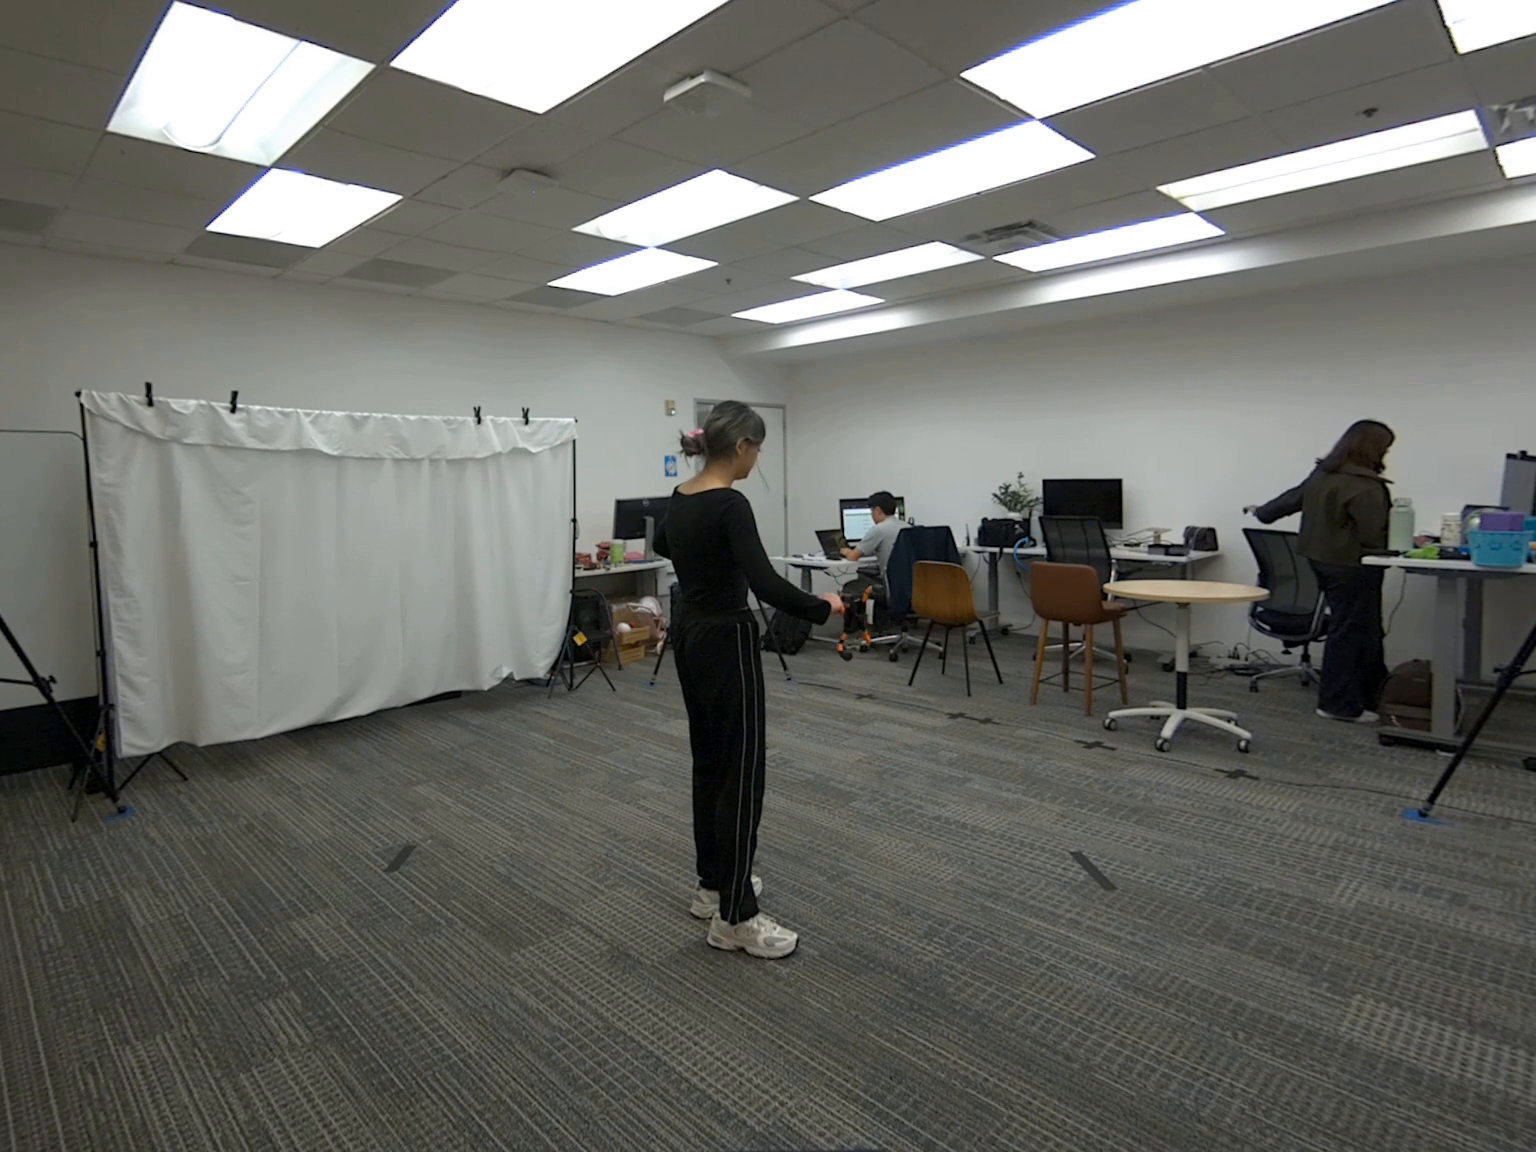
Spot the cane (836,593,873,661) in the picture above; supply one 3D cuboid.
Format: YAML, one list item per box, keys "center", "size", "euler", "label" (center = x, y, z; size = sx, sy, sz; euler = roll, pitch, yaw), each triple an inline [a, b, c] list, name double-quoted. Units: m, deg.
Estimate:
- center: [0.012, 0.016, 2.865]
  size: [0.148, 0.203, 0.941]
  euler: [-10, 21, -34]
  label: "cane"
